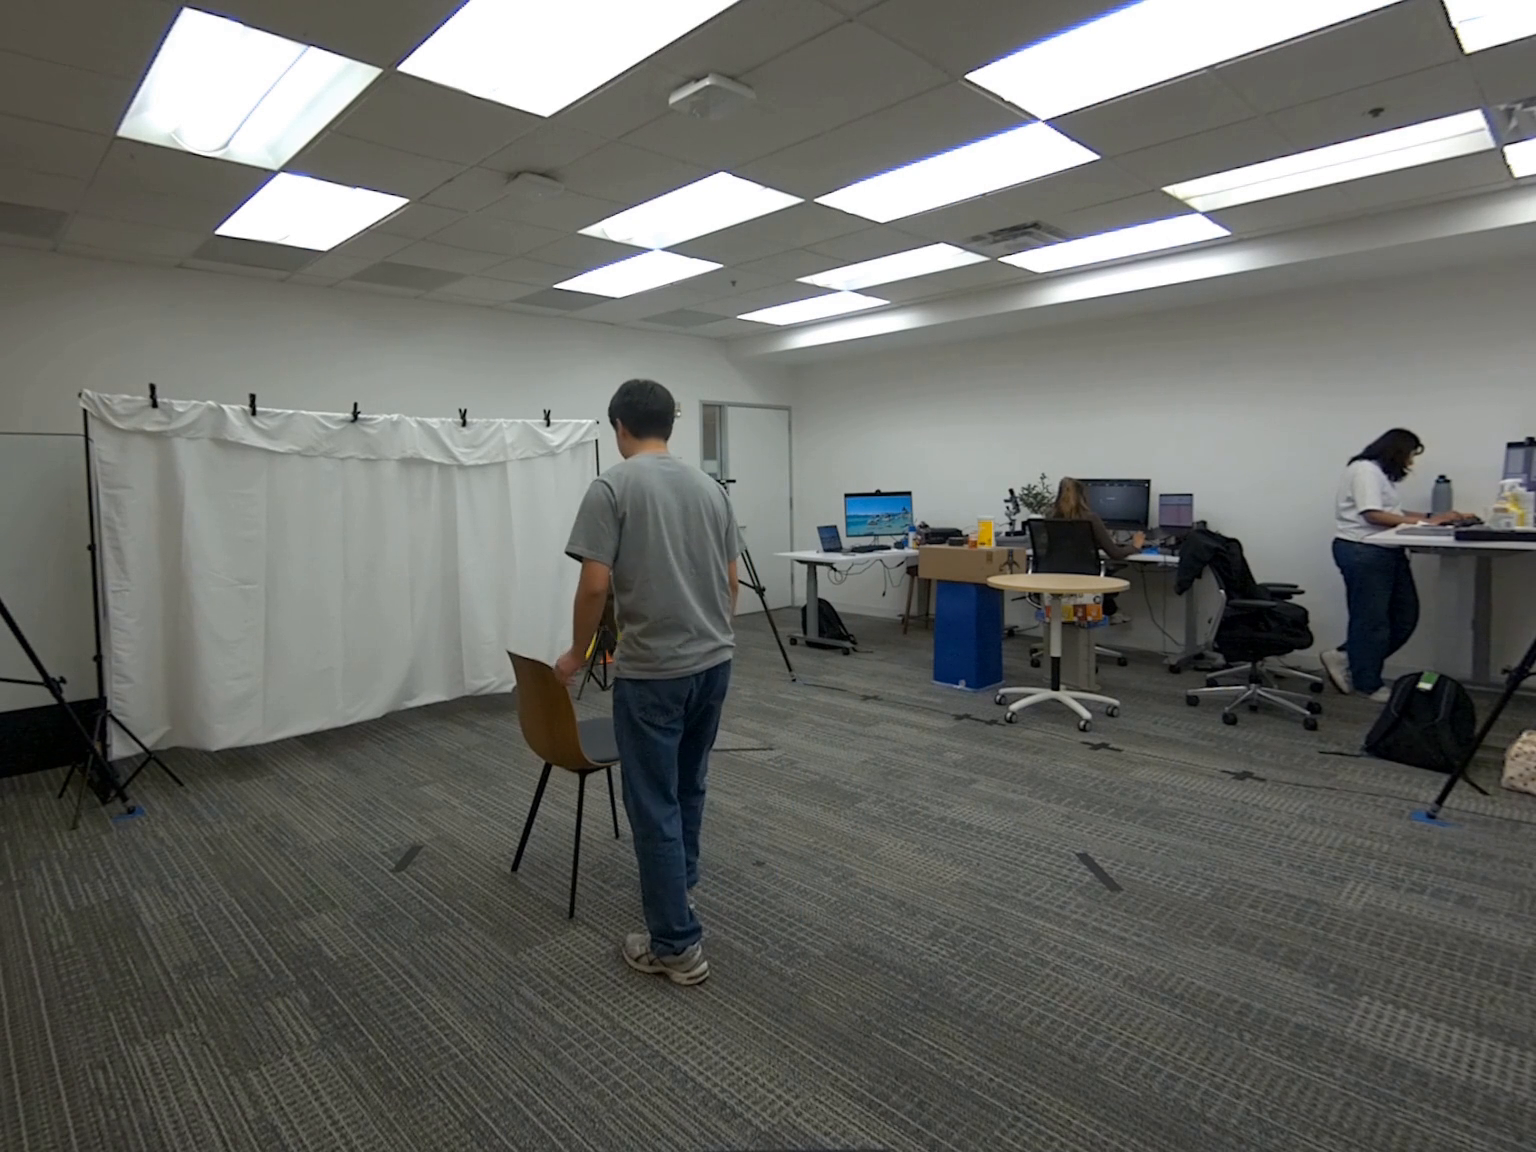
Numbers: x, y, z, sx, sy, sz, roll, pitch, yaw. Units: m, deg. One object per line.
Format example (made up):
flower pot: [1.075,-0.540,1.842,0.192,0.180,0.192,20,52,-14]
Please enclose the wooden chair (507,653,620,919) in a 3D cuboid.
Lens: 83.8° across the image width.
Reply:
wooden chair: [-0.612,0.642,3.026,0.511,0.872,0.492,-10,9,-39]
